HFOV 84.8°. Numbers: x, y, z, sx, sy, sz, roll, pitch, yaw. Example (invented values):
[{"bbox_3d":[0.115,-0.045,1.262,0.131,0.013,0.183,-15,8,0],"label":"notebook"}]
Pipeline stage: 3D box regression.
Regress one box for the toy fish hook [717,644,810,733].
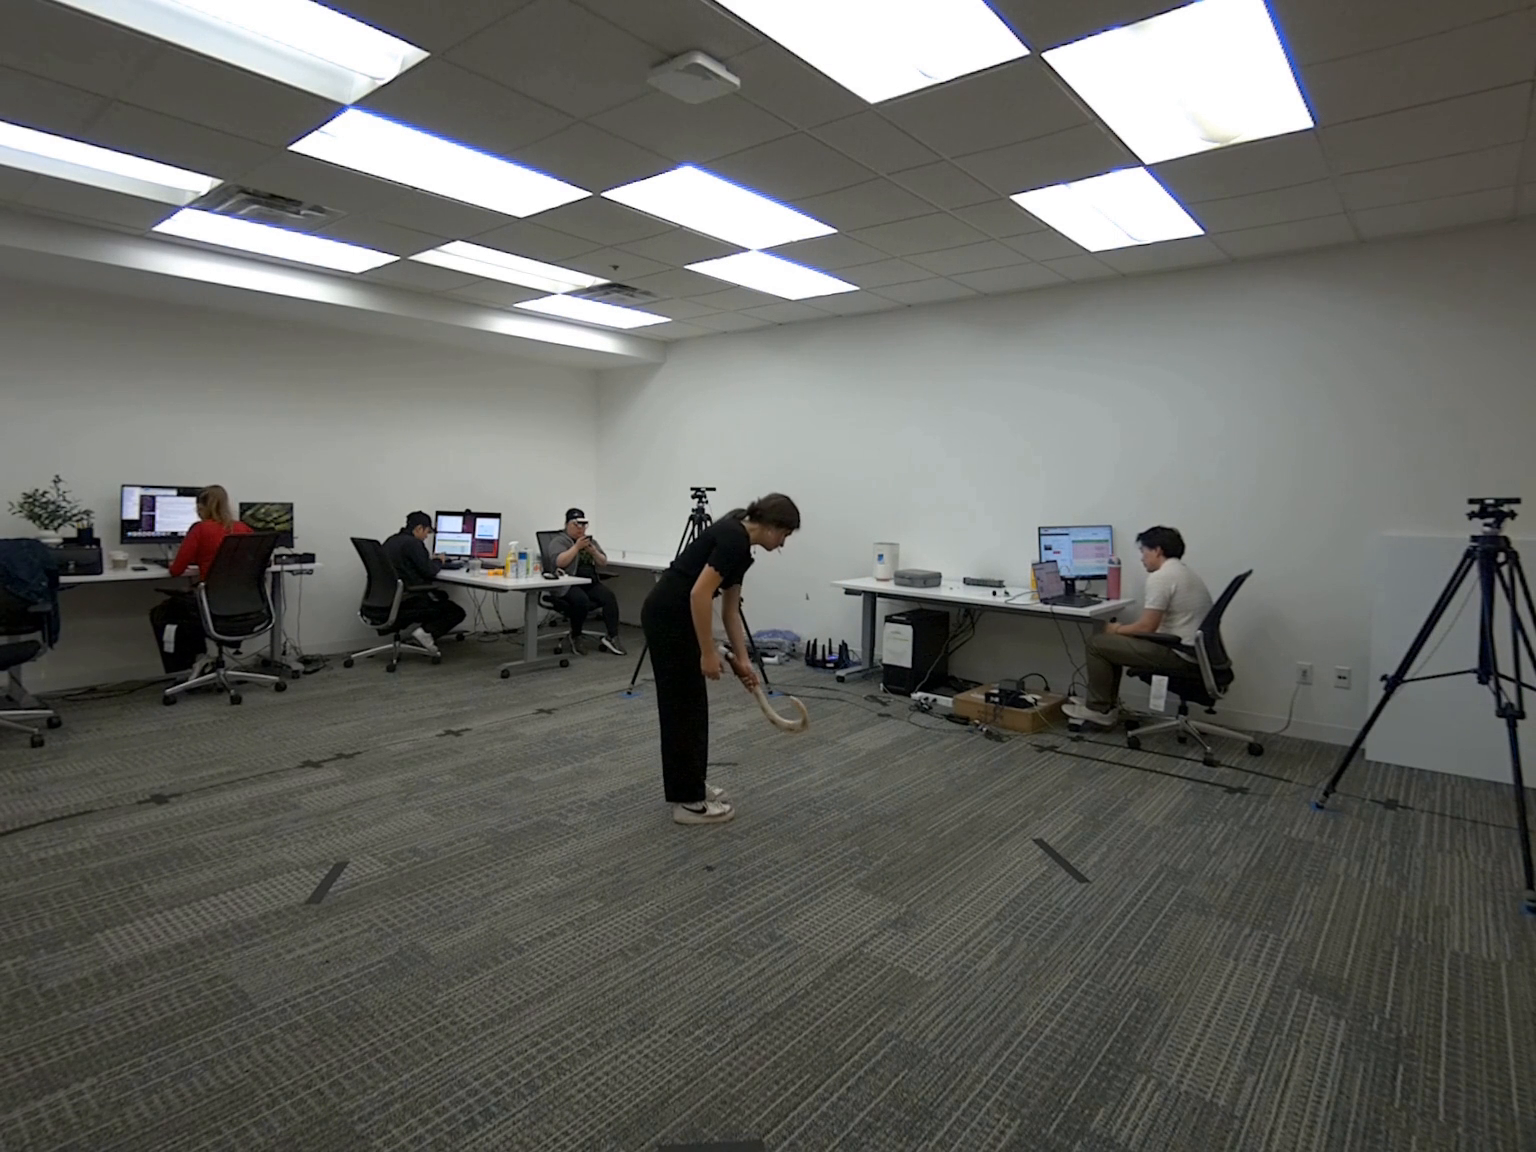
[{"bbox_3d":[-0.012,0.515,3.729,0.228,0.495,0.049,-27,20,35],"label":"toy fish hook"}]
